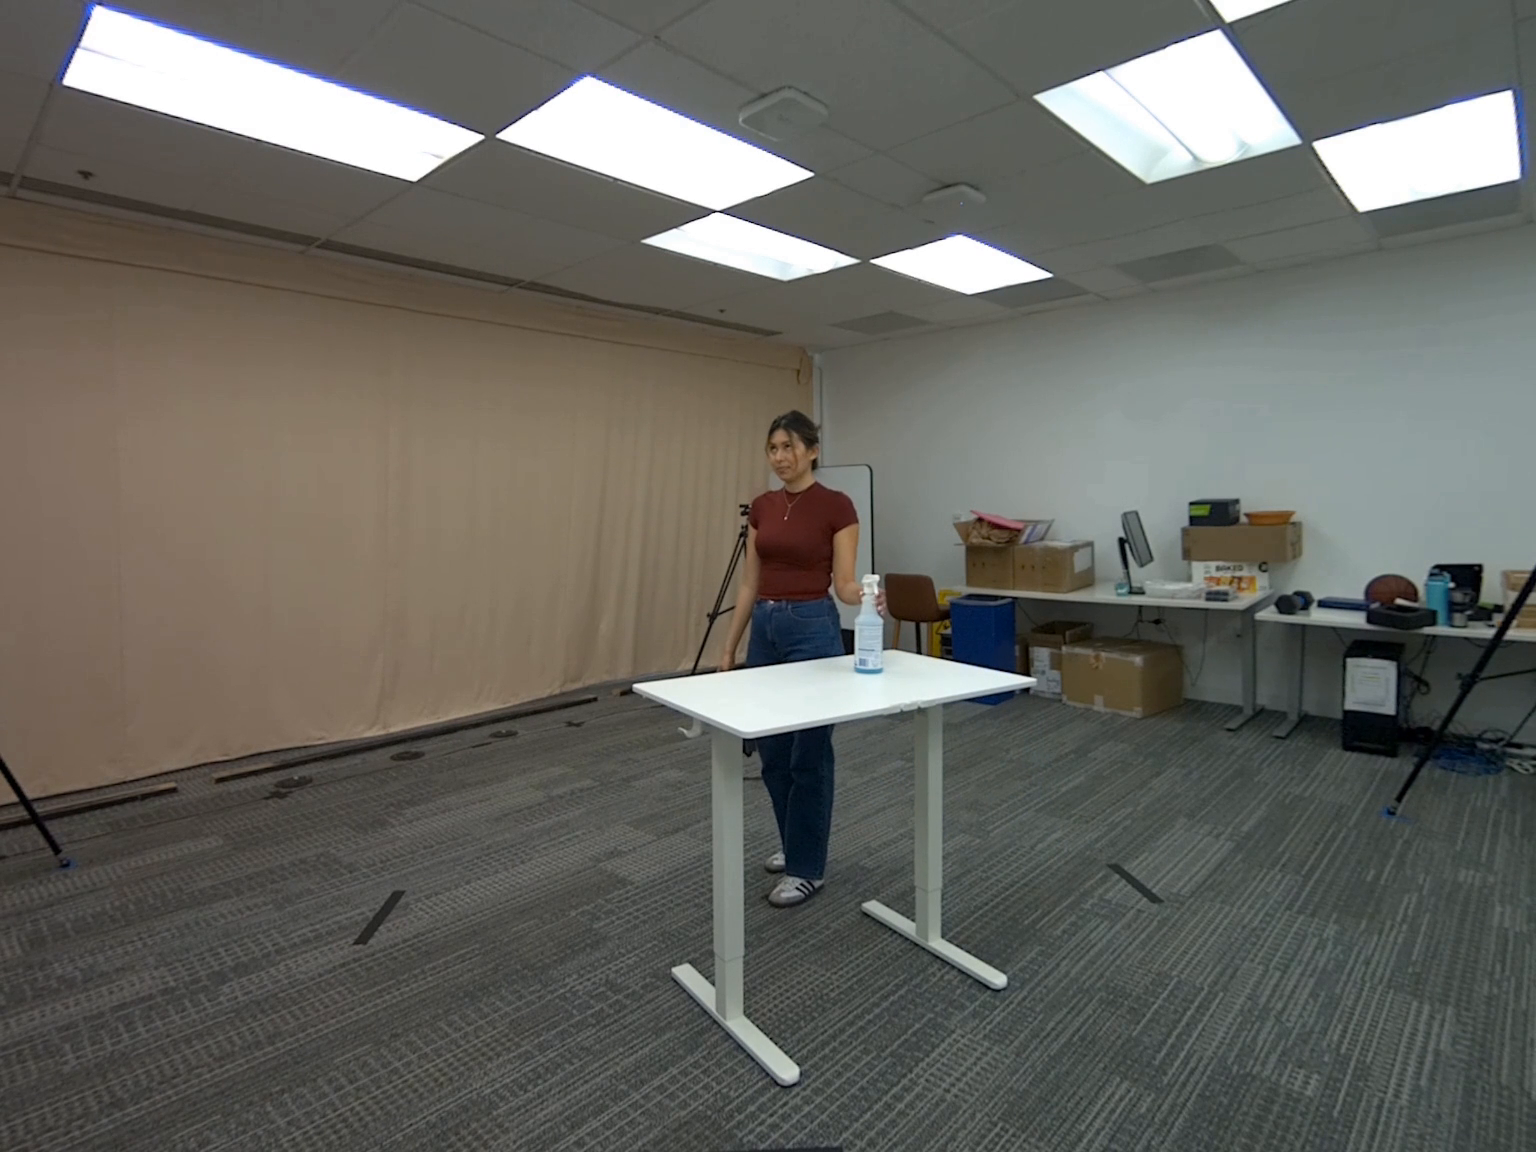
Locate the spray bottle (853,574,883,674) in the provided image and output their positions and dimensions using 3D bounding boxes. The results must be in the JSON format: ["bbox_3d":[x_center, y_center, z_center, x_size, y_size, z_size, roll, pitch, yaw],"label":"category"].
[{"bbox_3d":[0.309,0.144,2.544,0.087,0.296,0.090,-1,5,4],"label":"spray bottle"}]
